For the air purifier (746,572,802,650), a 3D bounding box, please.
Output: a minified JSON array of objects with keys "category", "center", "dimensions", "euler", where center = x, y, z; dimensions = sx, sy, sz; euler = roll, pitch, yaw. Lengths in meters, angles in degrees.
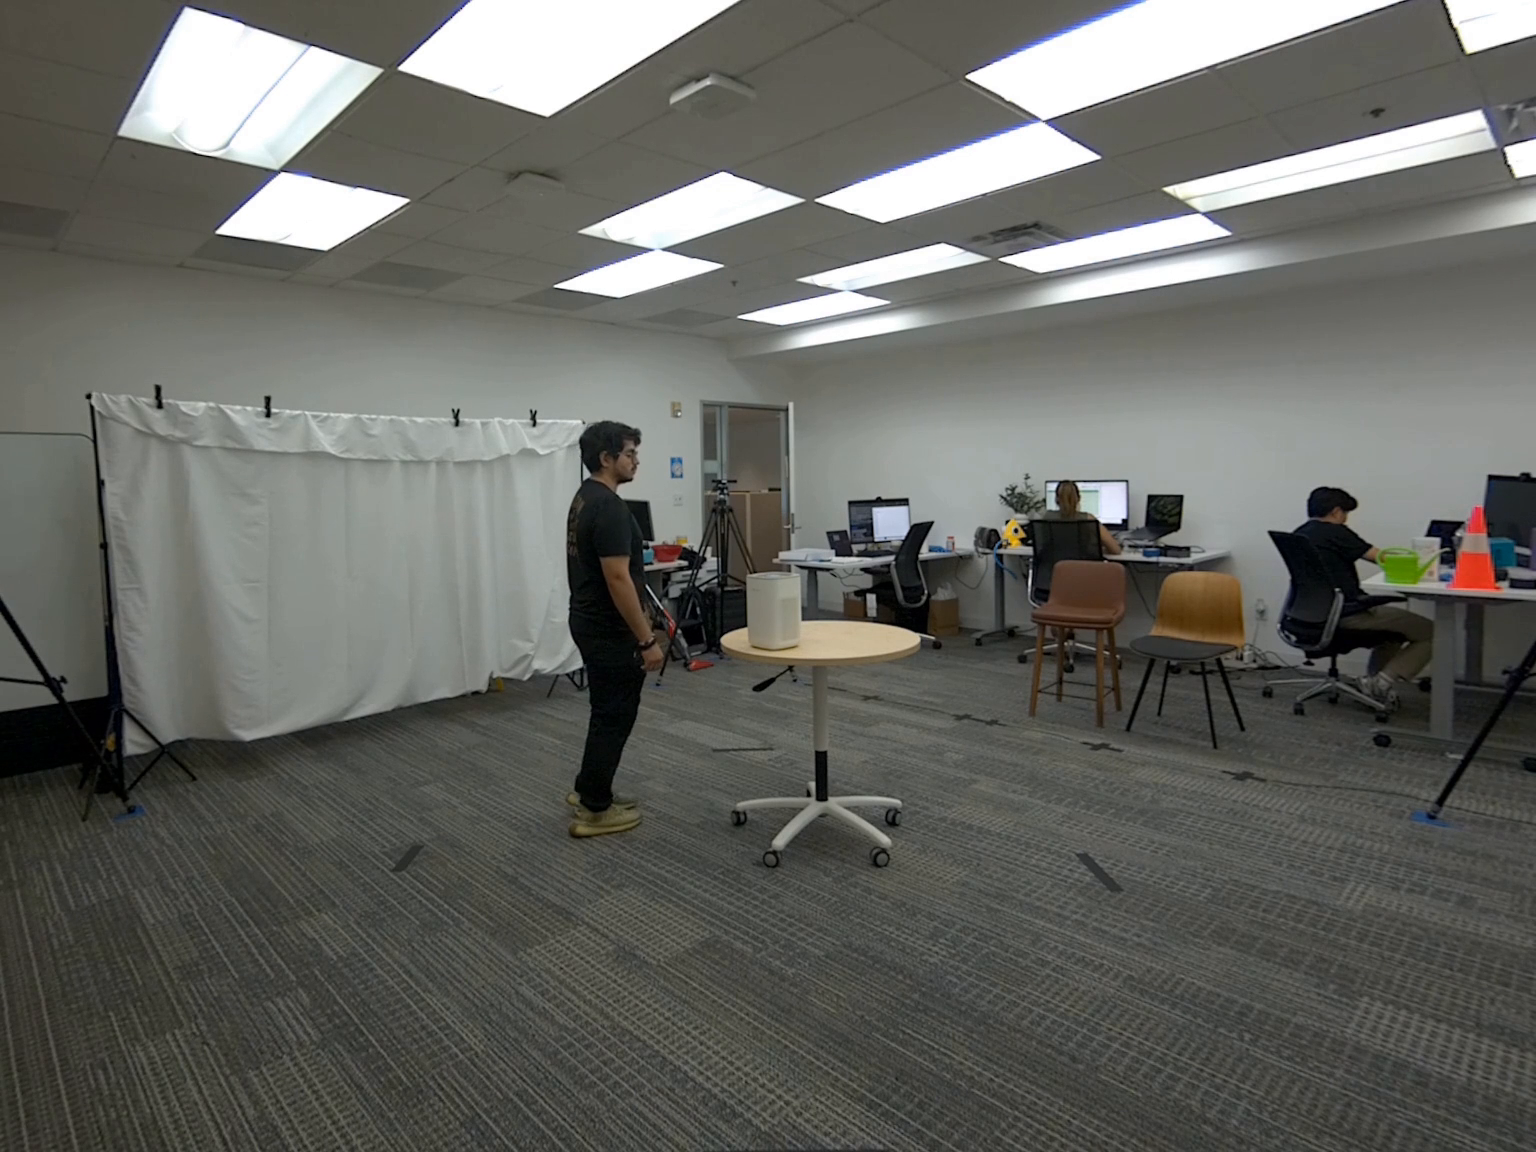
[{"category":"air purifier","center":[0.024,0.127,3.153],"dimensions":[0.167,0.264,0.176],"euler":[-6,6,-41]}]
